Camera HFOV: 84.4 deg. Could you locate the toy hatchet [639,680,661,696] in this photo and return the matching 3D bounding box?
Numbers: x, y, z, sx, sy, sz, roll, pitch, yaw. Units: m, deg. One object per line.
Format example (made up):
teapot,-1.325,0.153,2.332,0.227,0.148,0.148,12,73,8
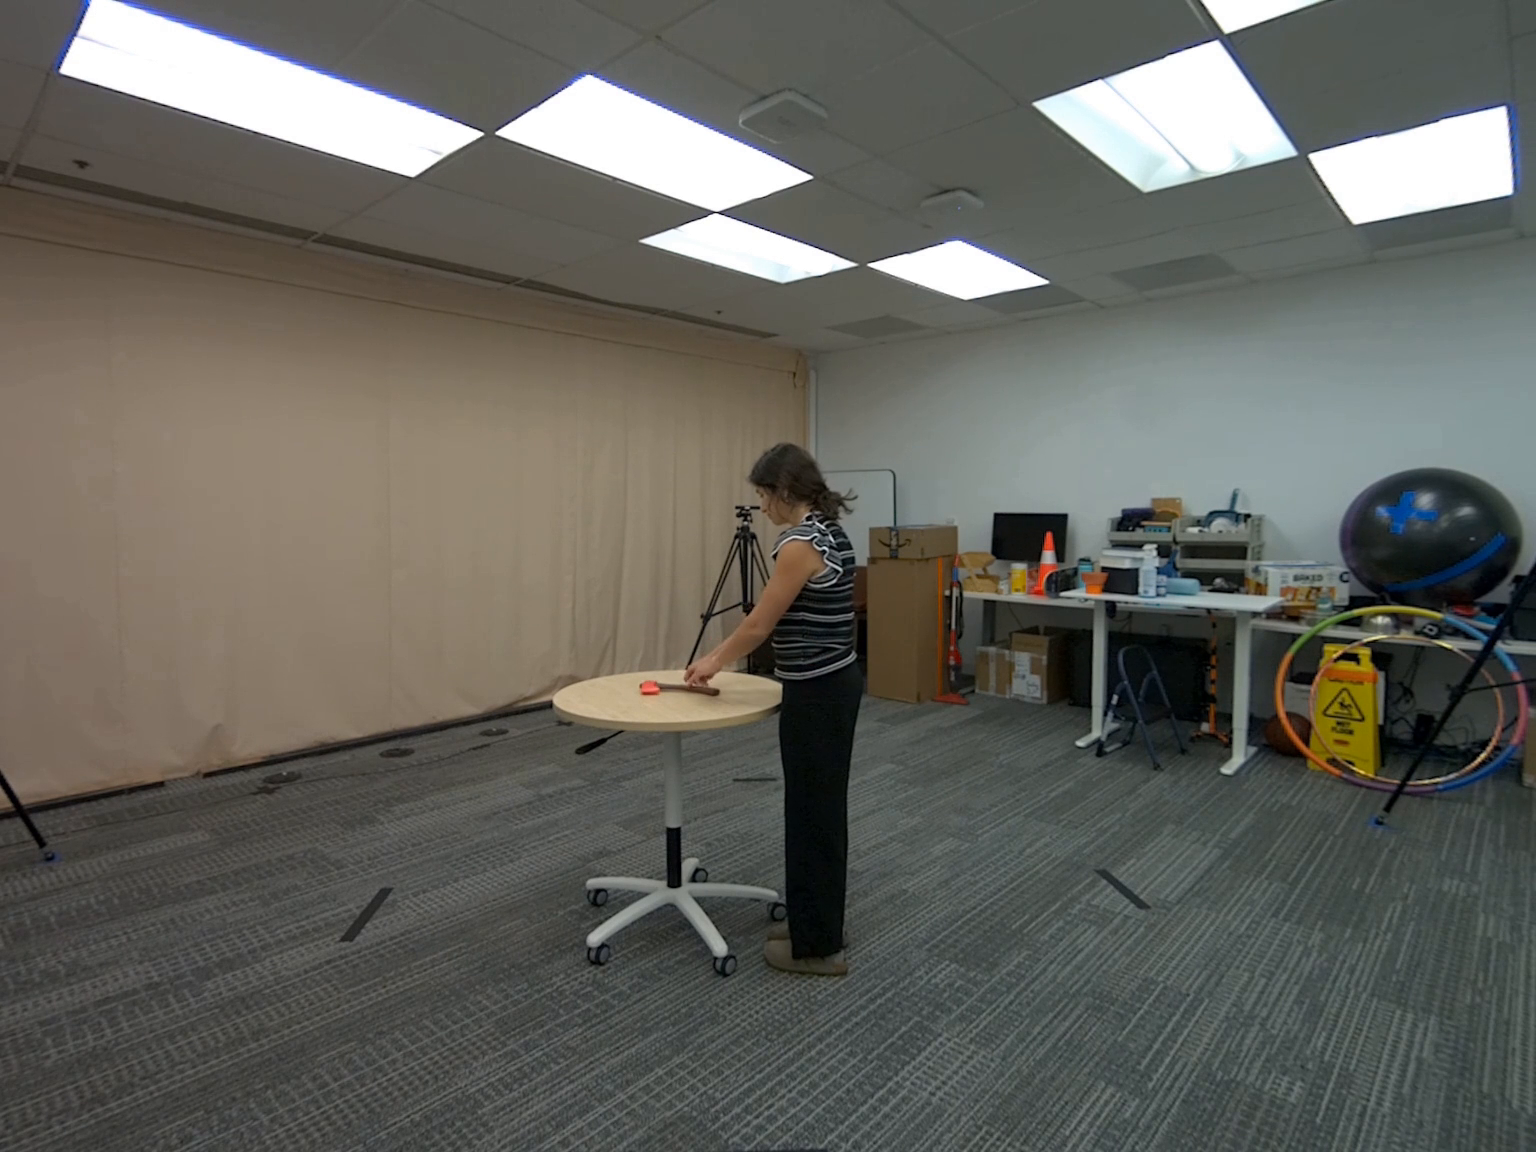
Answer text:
toy hatchet,-0.296,0.370,2.728,0.278,0.029,0.127,4,5,31
